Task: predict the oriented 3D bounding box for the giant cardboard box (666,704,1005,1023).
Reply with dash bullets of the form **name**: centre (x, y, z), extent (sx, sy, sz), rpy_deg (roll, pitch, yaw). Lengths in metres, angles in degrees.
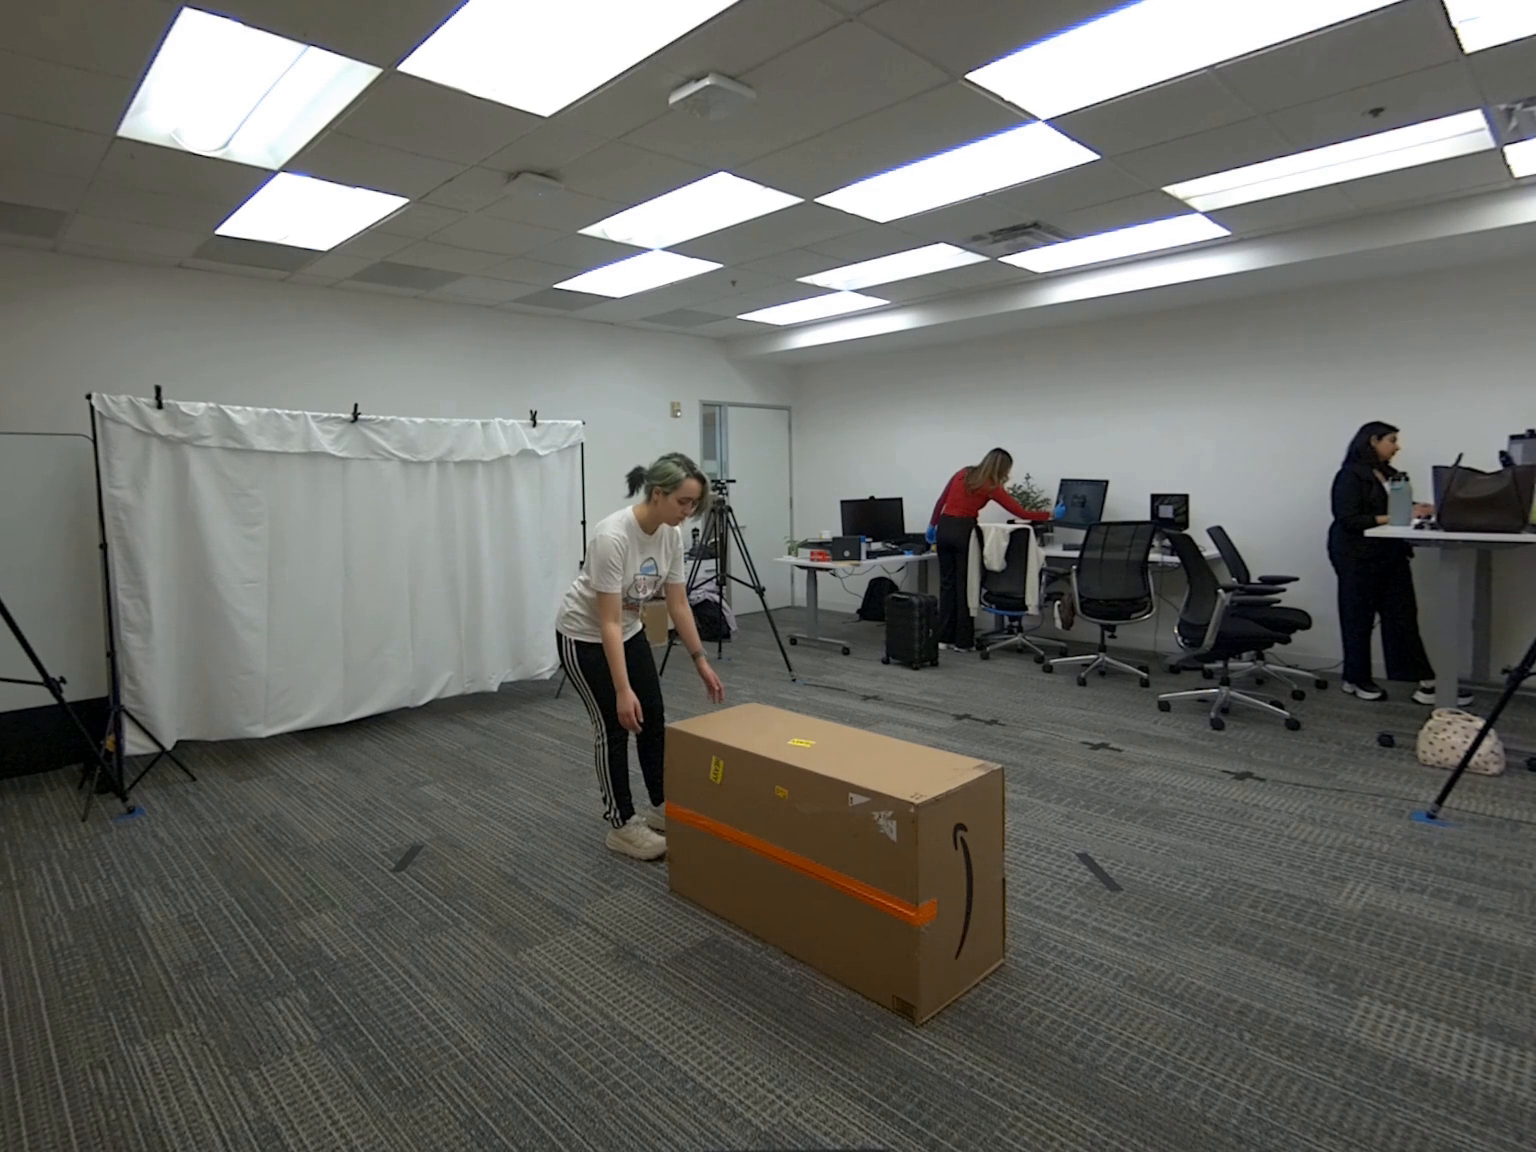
- **giant cardboard box**: centre (0.167, 0.806, 2.667), extent (0.435, 0.581, 1.059), rpy_deg (-7, 8, -44)
